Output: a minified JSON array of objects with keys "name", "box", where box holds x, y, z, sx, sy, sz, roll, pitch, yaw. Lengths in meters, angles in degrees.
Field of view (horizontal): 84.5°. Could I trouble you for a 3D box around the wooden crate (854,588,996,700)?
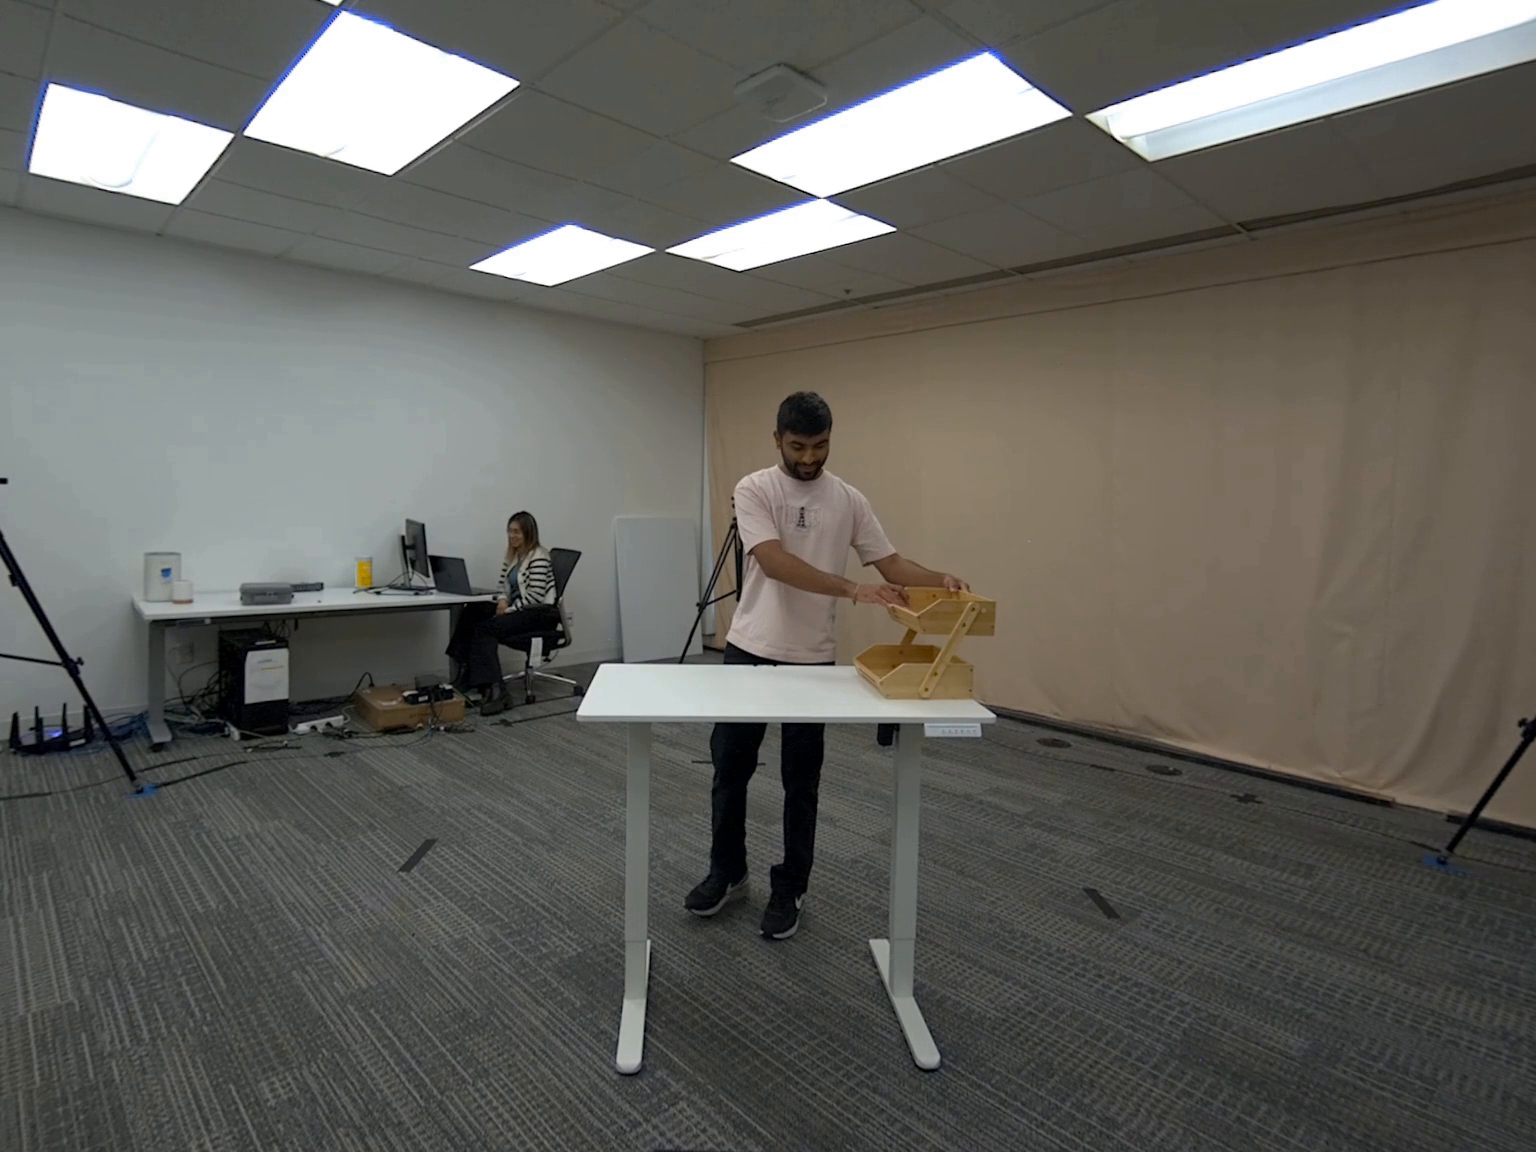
[{"name":"wooden crate","box":[0.405,0.175,2.320,0.300,0.272,0.327,3,5,-6]}]
